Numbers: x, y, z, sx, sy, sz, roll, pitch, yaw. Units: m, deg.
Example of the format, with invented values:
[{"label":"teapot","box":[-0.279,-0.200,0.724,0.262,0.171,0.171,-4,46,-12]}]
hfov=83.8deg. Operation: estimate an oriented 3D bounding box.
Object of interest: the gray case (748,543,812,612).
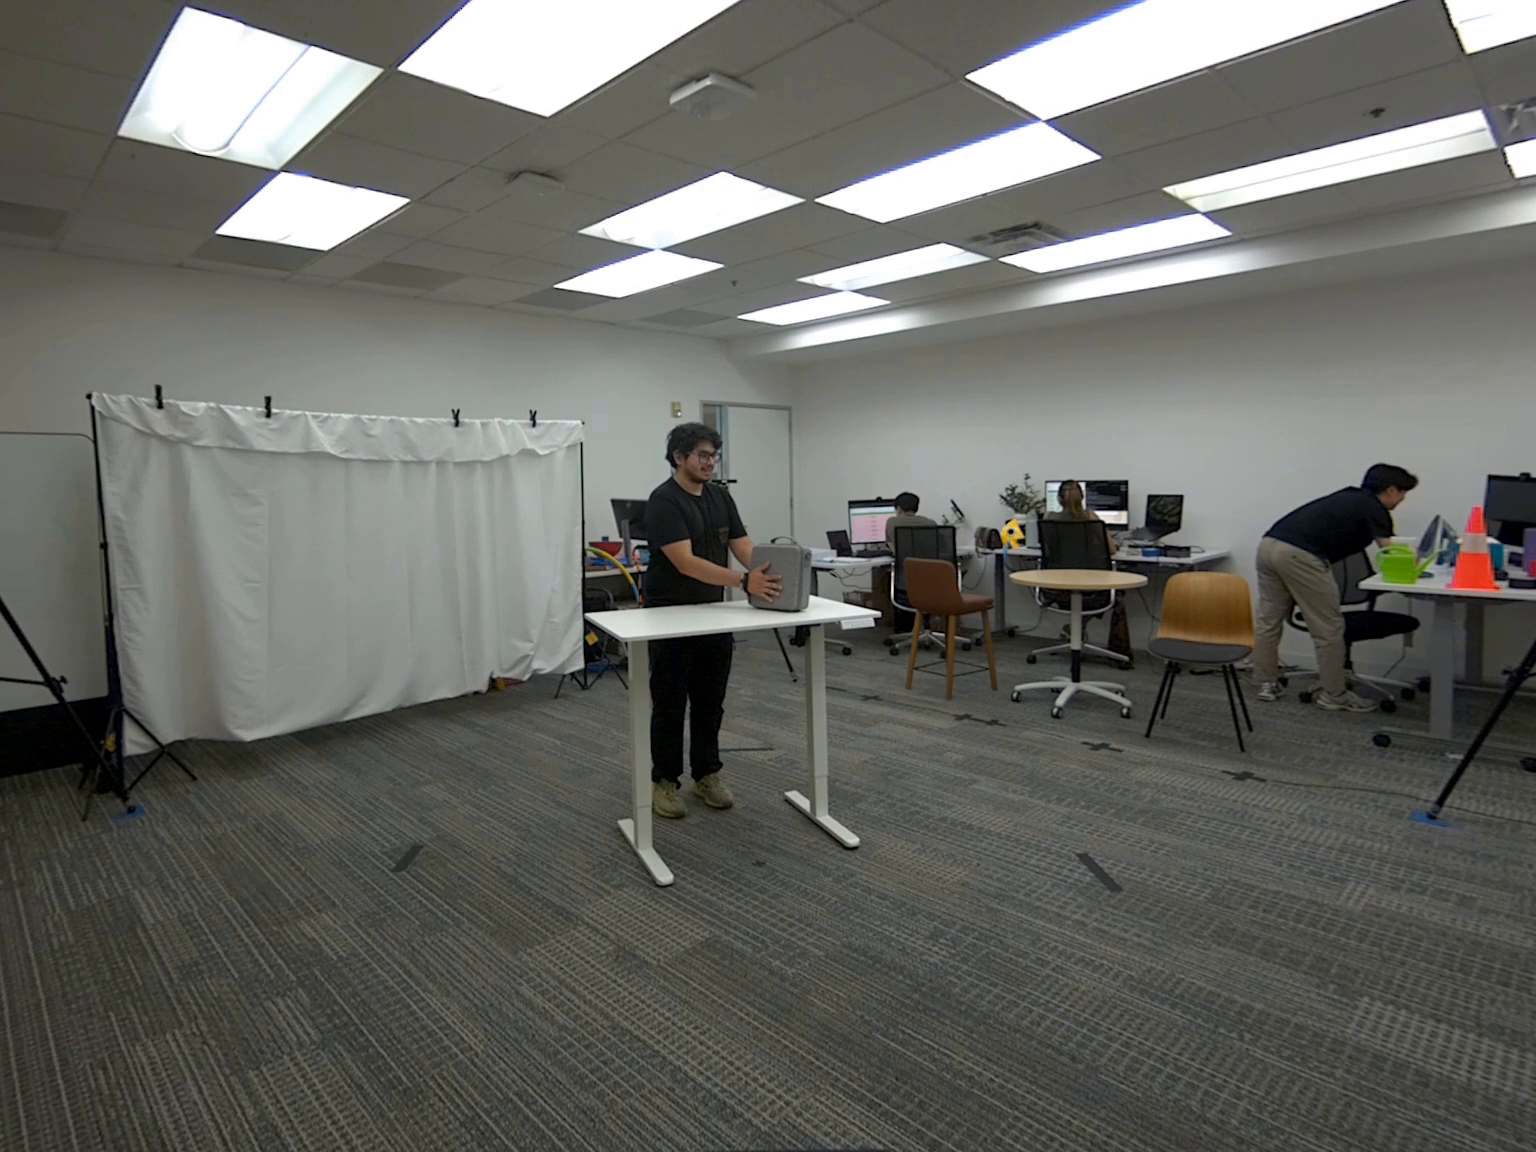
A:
[{"label":"gray case","box":[0.048,0.002,3.366,0.264,0.262,0.101,1,-7,44]}]
